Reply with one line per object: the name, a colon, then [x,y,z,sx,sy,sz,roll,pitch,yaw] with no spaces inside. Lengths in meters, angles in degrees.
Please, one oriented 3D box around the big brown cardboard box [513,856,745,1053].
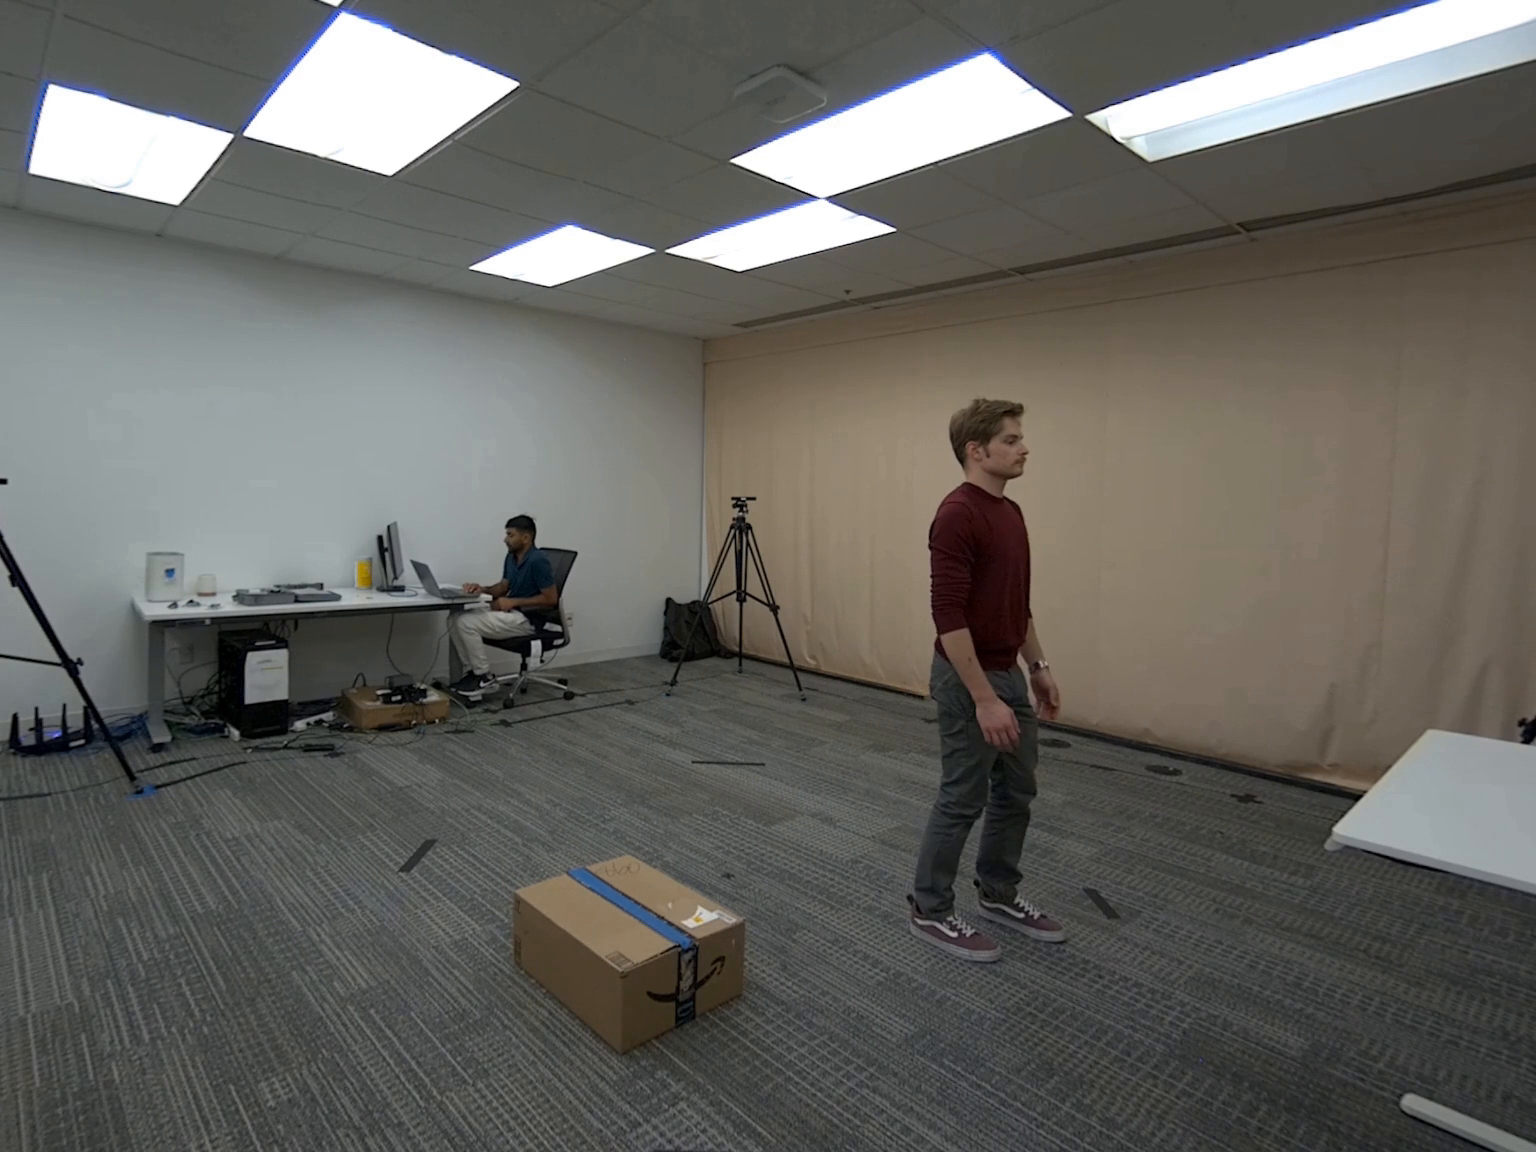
big brown cardboard box: [-0.415,1.055,2.417,0.408,0.232,0.604,-3,6,-44]
